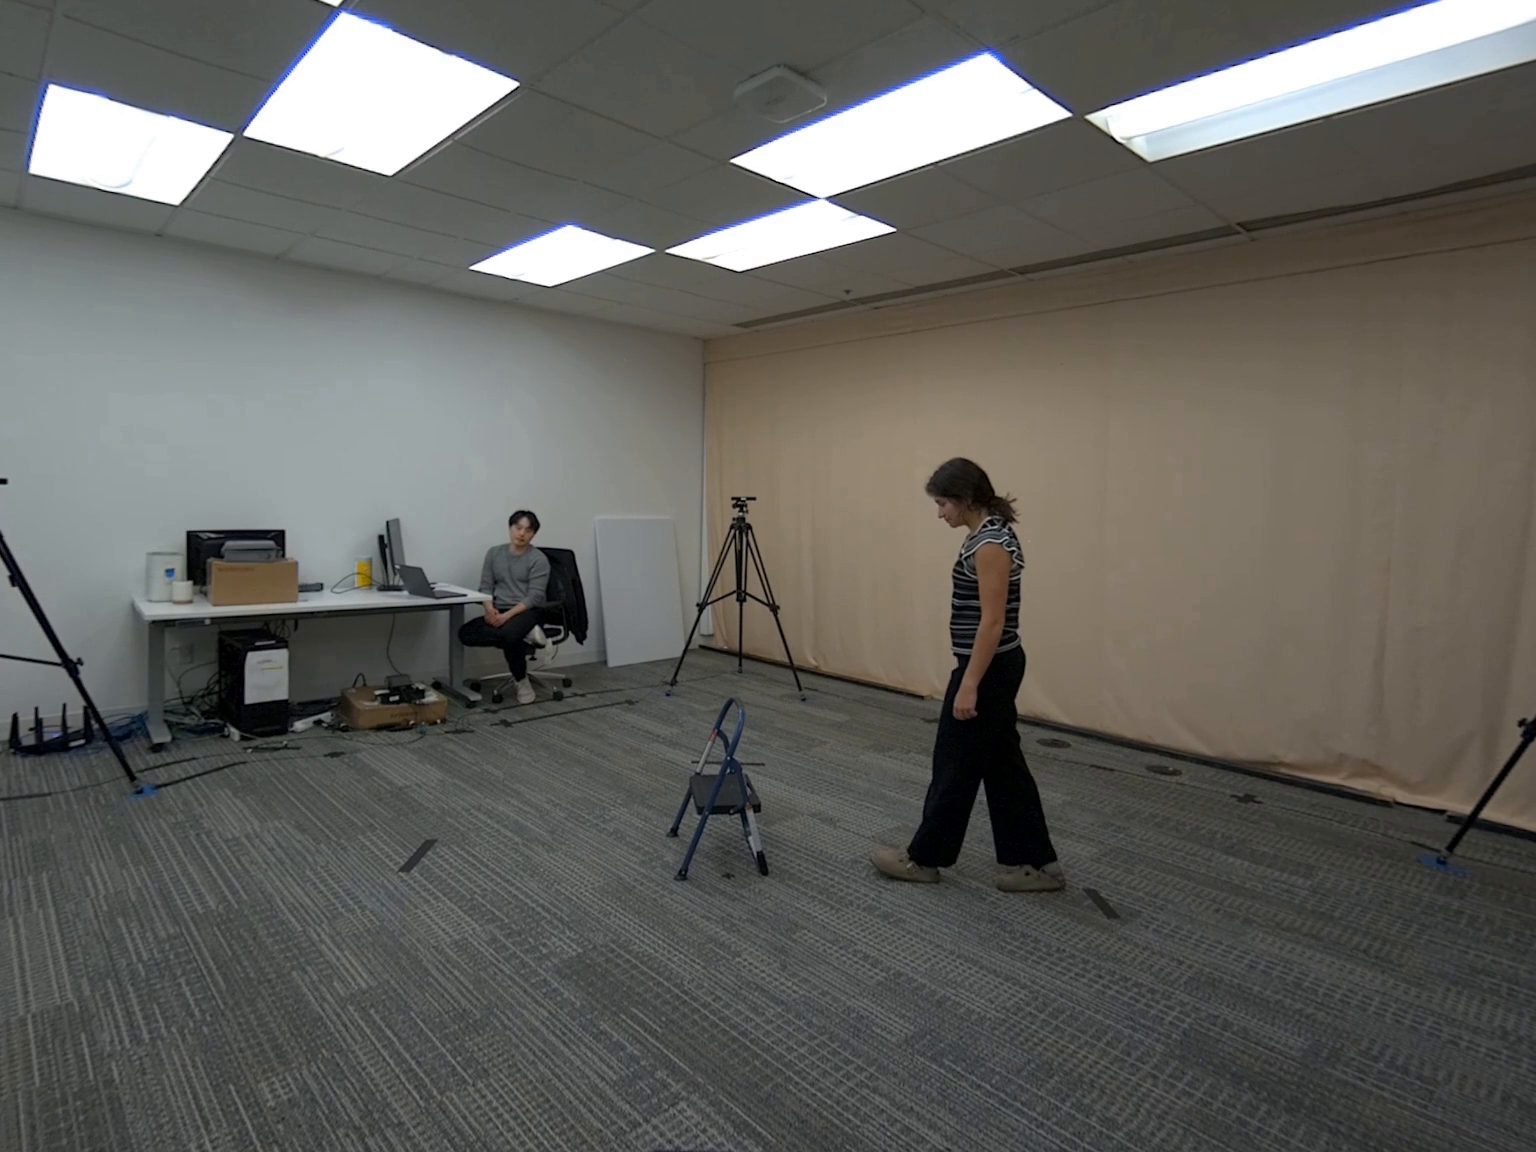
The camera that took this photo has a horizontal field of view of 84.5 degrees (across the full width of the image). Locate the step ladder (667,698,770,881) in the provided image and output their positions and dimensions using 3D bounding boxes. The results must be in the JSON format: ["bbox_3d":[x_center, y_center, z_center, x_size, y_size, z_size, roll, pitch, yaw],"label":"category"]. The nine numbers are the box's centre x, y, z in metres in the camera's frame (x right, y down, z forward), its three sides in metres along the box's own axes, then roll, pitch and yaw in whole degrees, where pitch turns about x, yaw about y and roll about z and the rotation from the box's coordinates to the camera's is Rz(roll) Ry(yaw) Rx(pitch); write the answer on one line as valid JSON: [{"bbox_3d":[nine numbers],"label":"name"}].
[{"bbox_3d":[-0.197,0.785,3.273,0.346,0.605,0.435,1,3,-10],"label":"step ladder"}]
